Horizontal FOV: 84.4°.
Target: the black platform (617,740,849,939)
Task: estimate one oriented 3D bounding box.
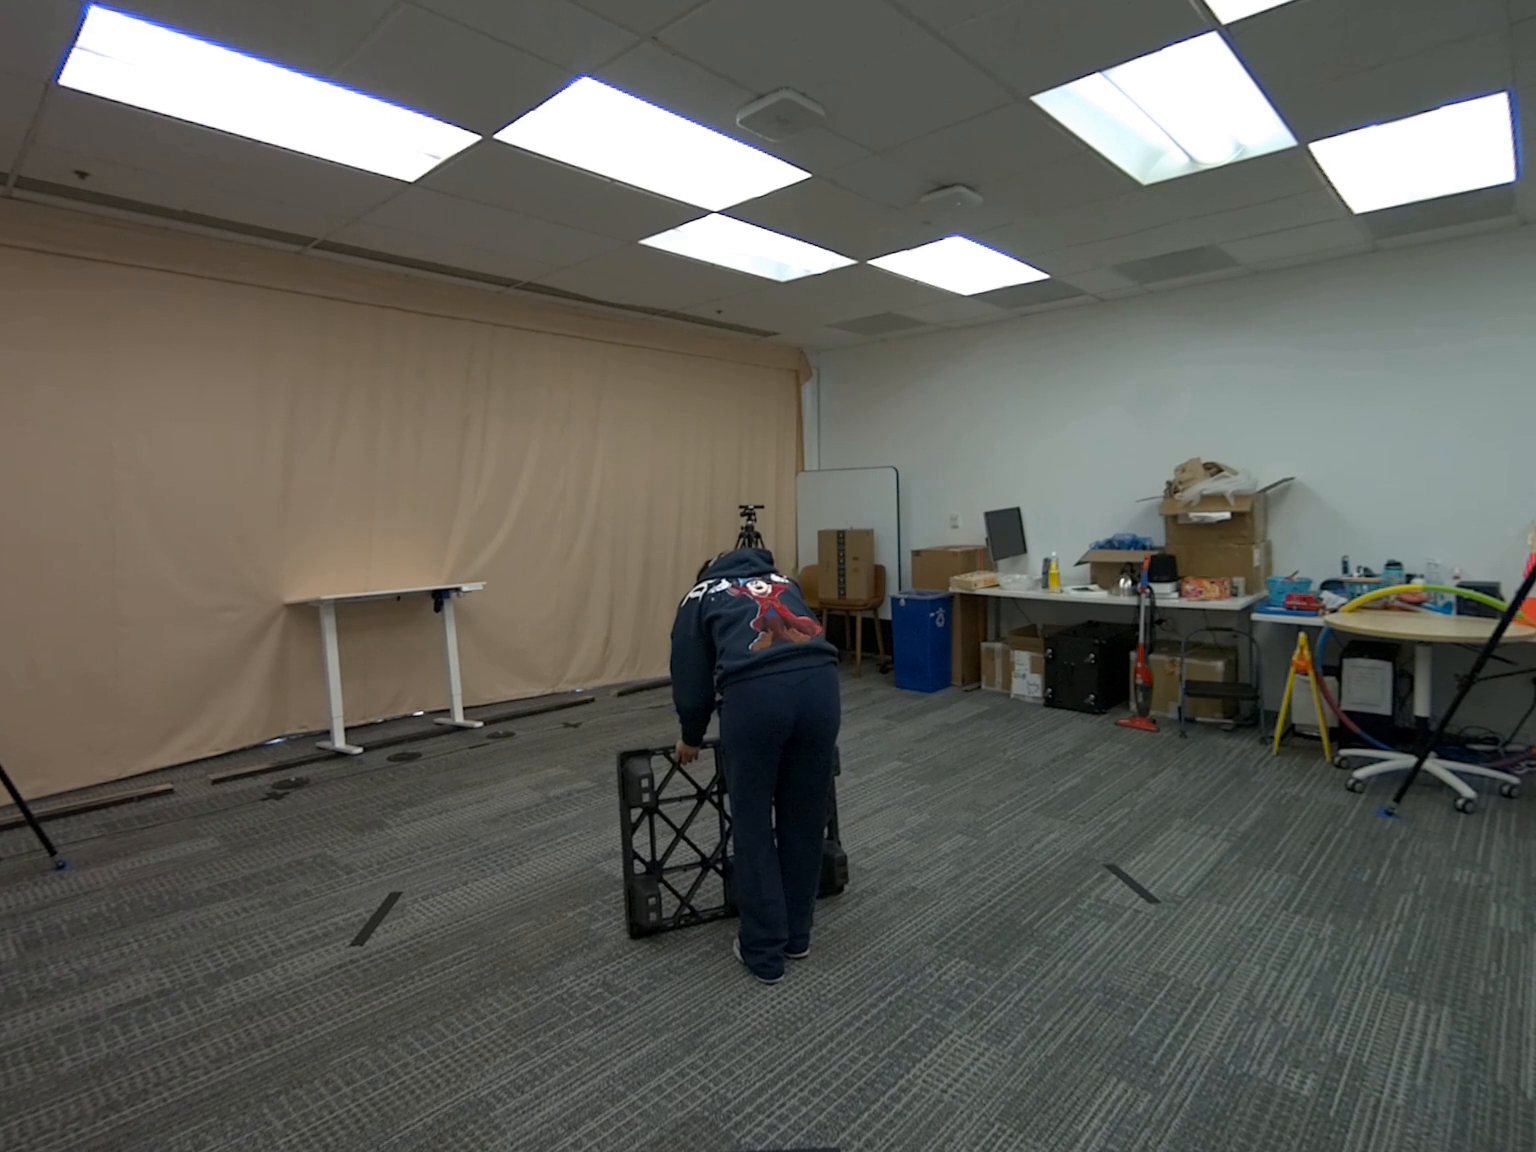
[{"bbox_3d":[-0.096,0.854,2.844,0.788,0.607,0.146,-3,-4,-22],"label":"black platform"}]
